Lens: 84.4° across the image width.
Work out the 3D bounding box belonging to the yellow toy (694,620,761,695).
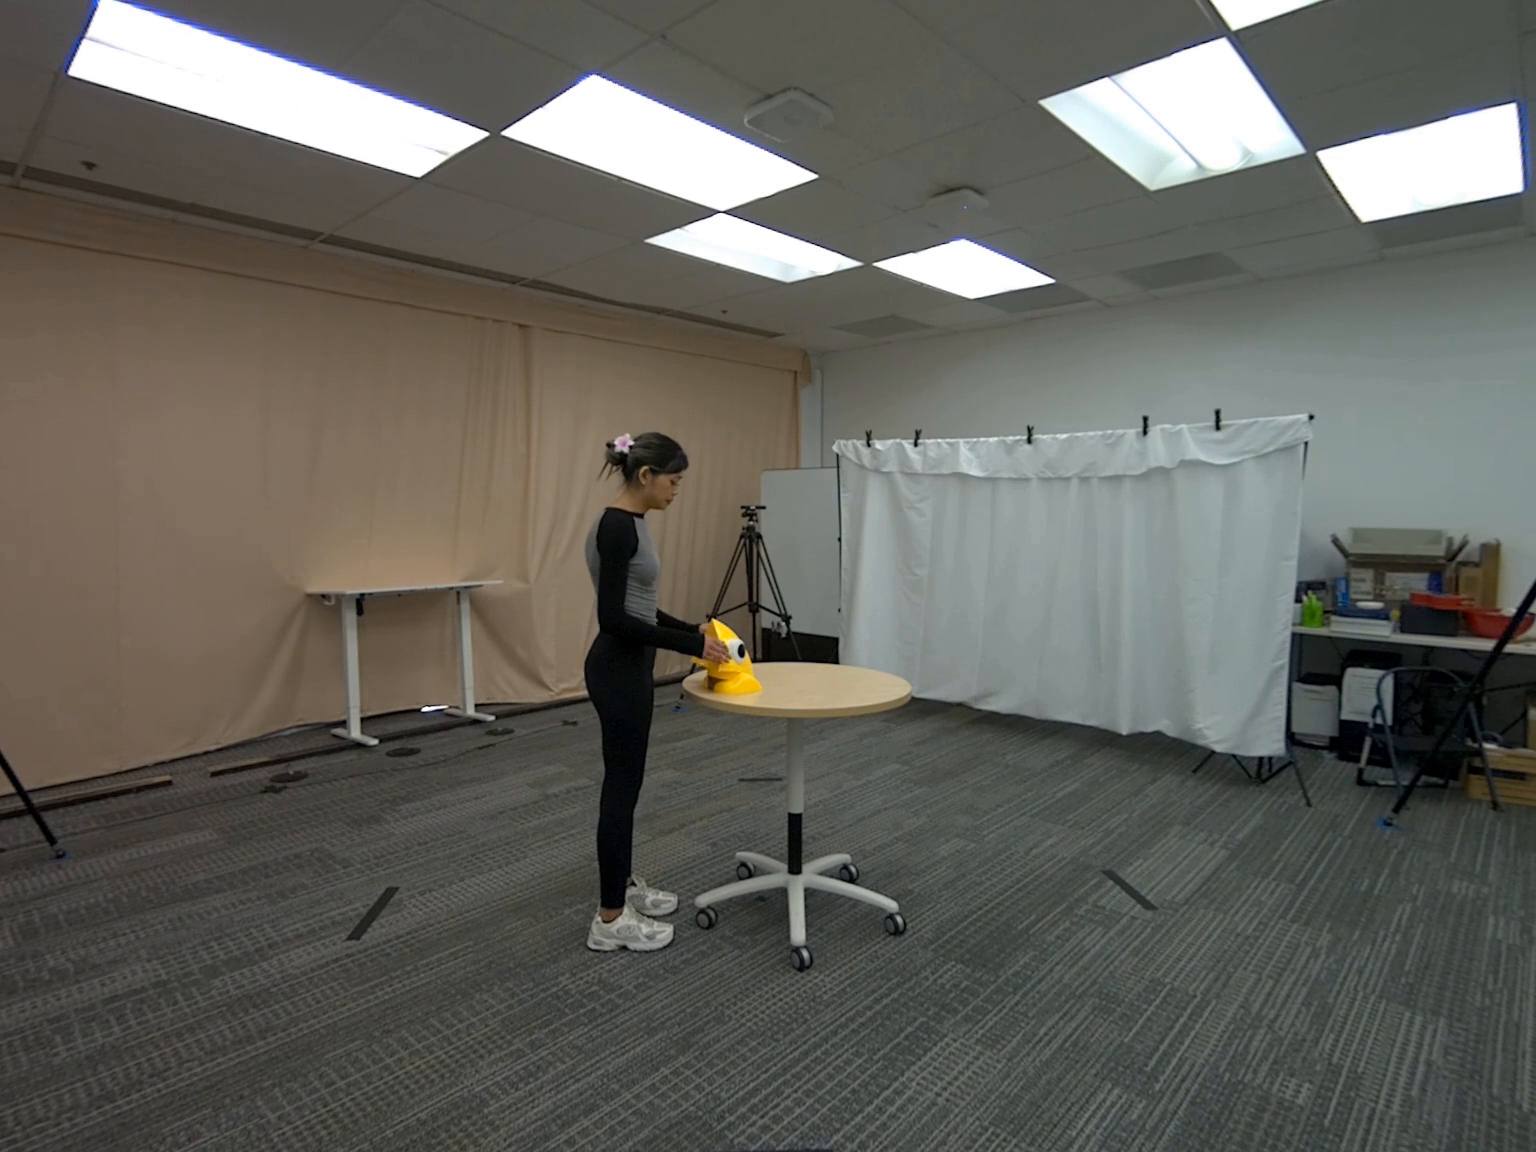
[{"bbox_3d":[-0.126,0.254,2.759,0.188,0.230,0.211,-1,3,-30],"label":"yellow toy"}]
